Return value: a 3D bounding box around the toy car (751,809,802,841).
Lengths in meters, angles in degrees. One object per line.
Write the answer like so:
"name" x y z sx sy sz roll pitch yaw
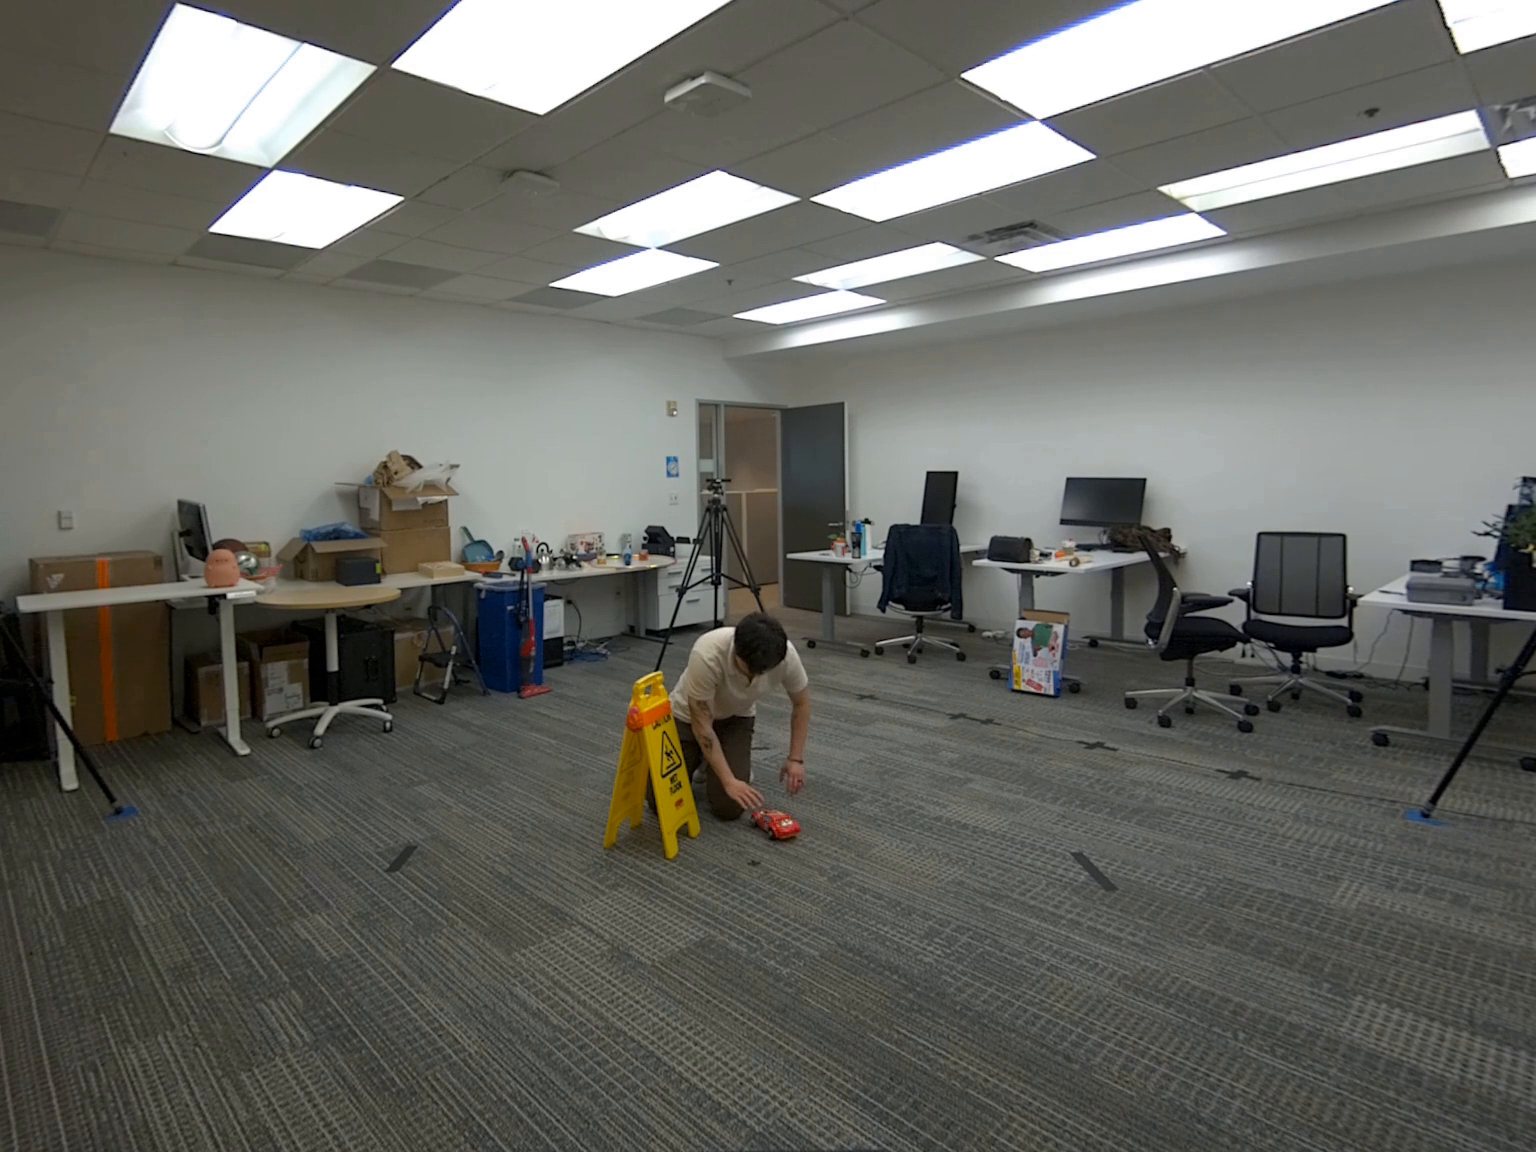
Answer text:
"toy car" 0.030 0.974 3.363 0.127 0.084 0.259 -2 -5 -28
